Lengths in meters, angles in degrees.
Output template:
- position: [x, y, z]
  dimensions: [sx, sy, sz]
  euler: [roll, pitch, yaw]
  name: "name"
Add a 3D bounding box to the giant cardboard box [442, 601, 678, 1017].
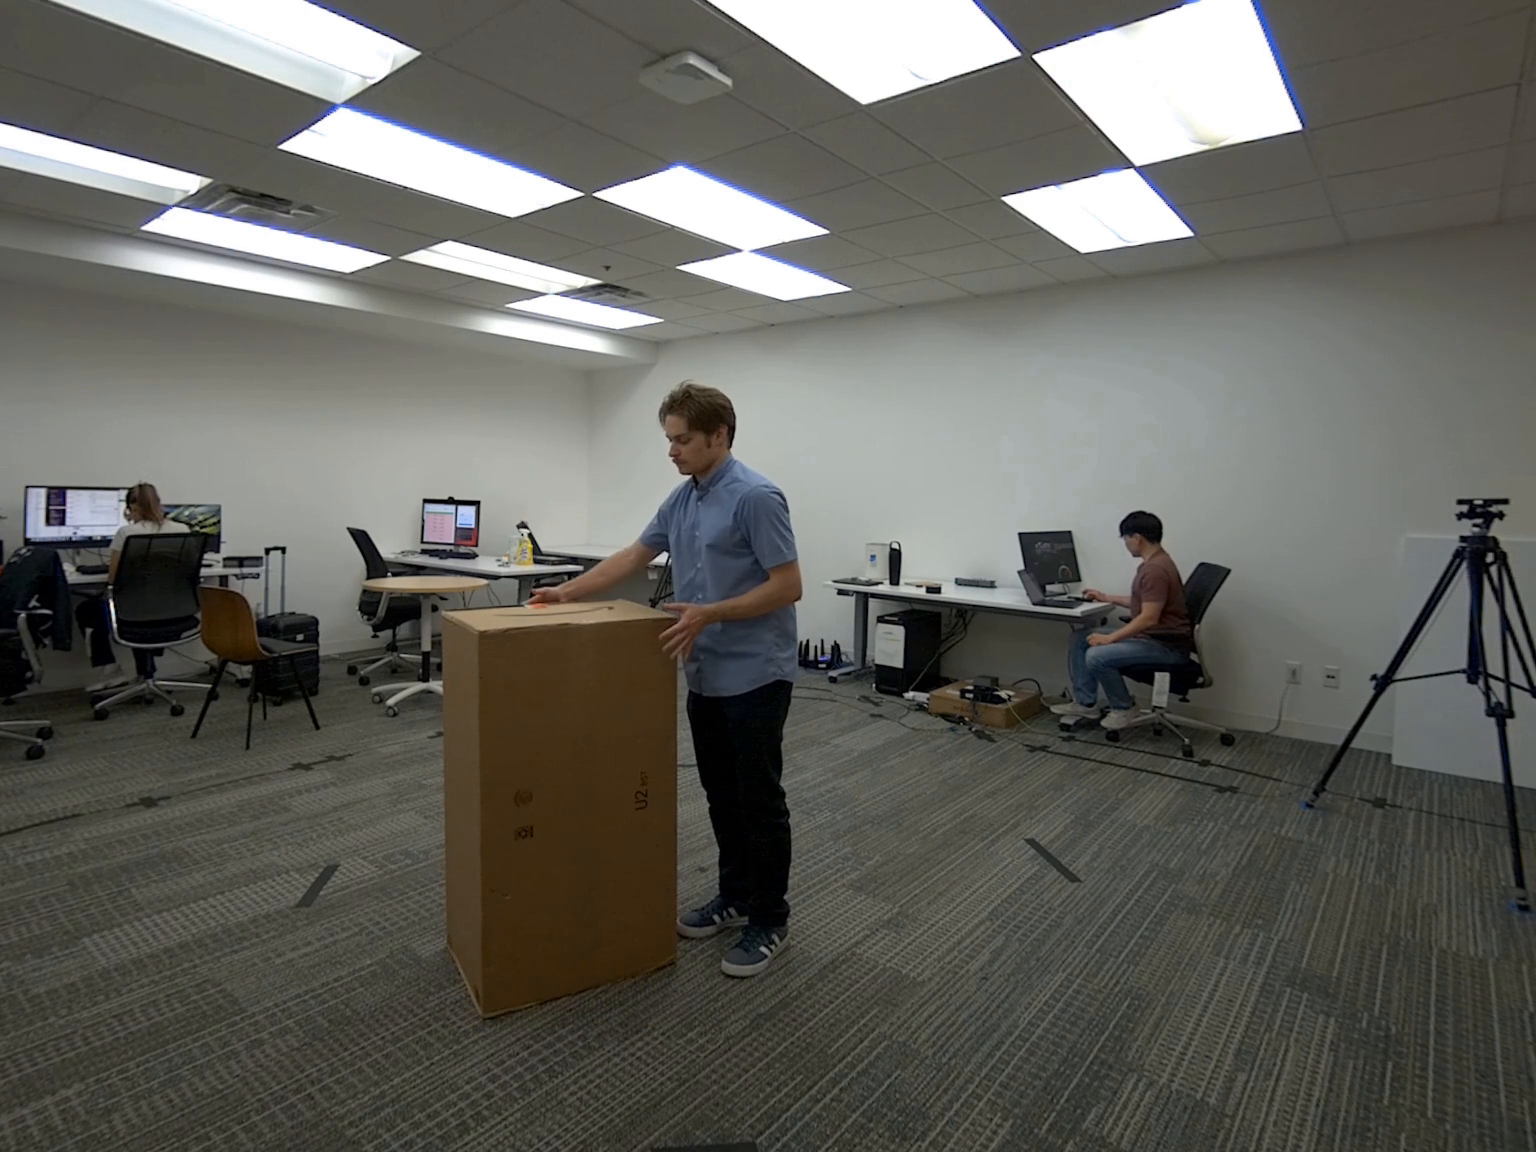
- position: [-0.628, 0.617, 2.497]
  dimensions: [0.562, 1.022, 0.439]
  euler: [-2, 4, -31]
  name: "giant cardboard box"
